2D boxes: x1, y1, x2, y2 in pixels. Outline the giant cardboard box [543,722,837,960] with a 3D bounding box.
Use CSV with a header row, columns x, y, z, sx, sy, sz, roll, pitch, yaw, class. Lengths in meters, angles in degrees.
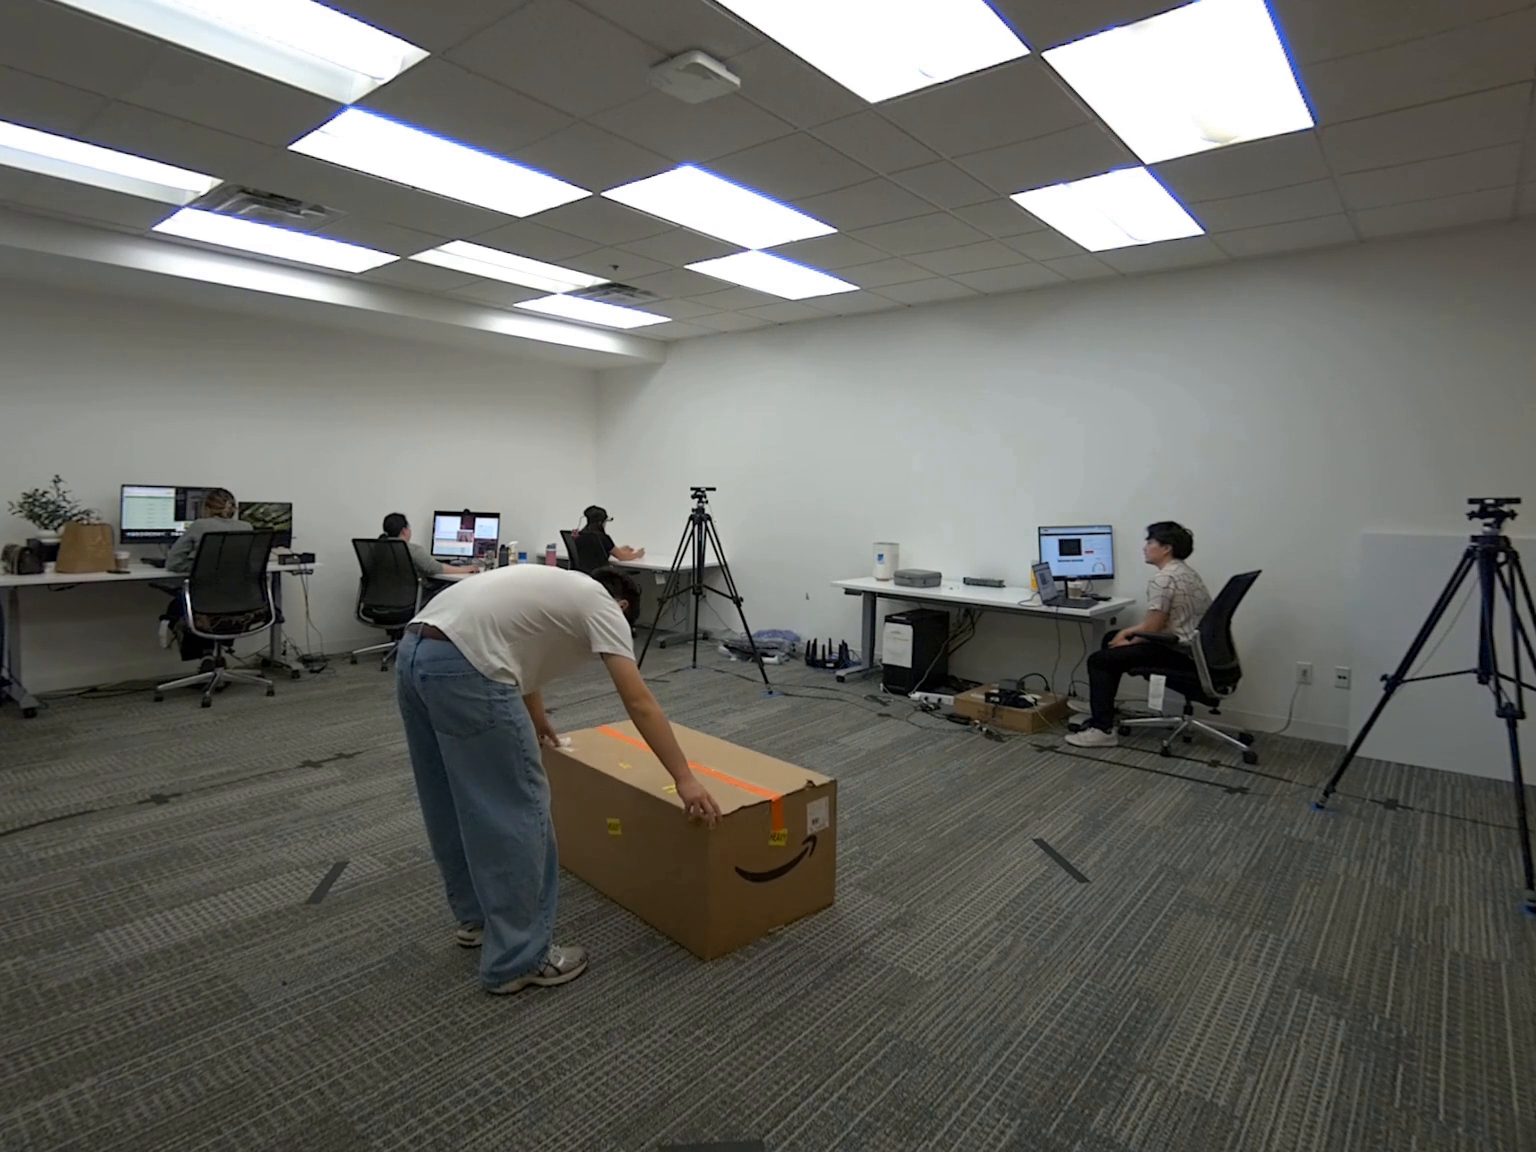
x,y,z,sx,sy,sz,roll,pitch,yaw,class
-0.337,0.855,3.039,0.560,0.424,1.061,-4,7,-43,giant cardboard box
